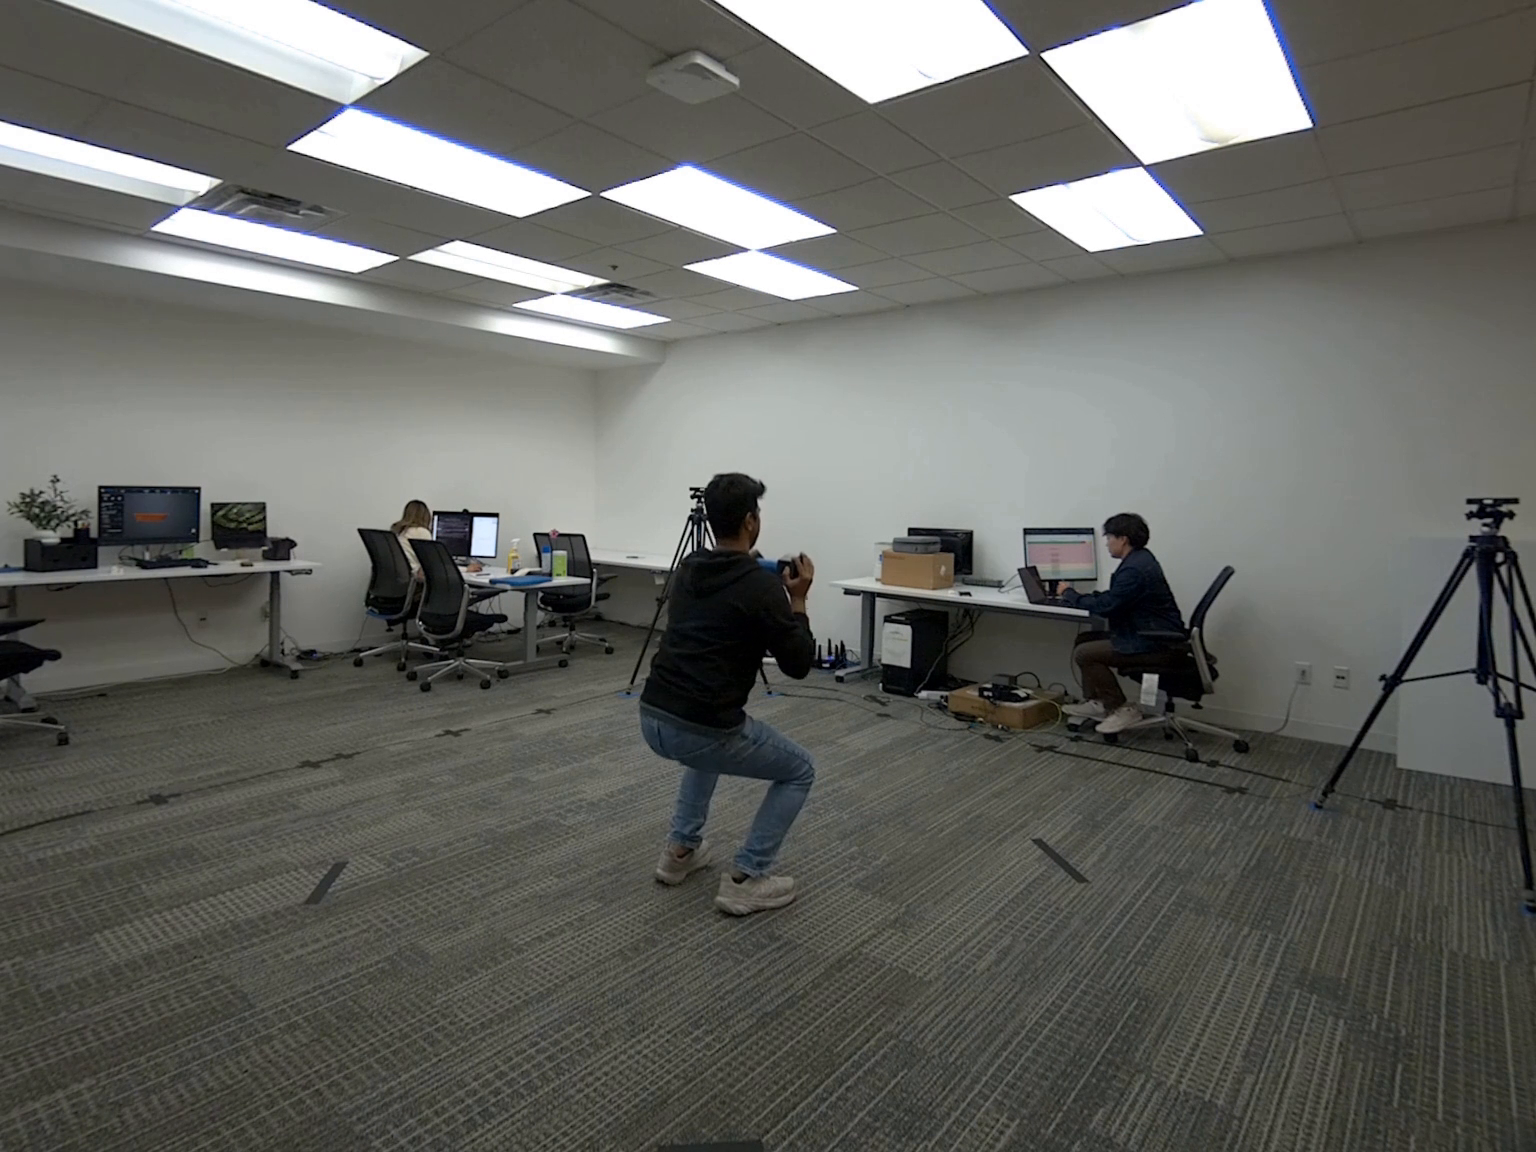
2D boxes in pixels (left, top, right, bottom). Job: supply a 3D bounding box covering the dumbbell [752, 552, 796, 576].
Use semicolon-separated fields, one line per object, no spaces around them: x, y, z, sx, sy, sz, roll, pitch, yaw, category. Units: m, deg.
-0.006;-0.029;3.095;0.304;0.123;0.105;6;-1;41;dumbbell
